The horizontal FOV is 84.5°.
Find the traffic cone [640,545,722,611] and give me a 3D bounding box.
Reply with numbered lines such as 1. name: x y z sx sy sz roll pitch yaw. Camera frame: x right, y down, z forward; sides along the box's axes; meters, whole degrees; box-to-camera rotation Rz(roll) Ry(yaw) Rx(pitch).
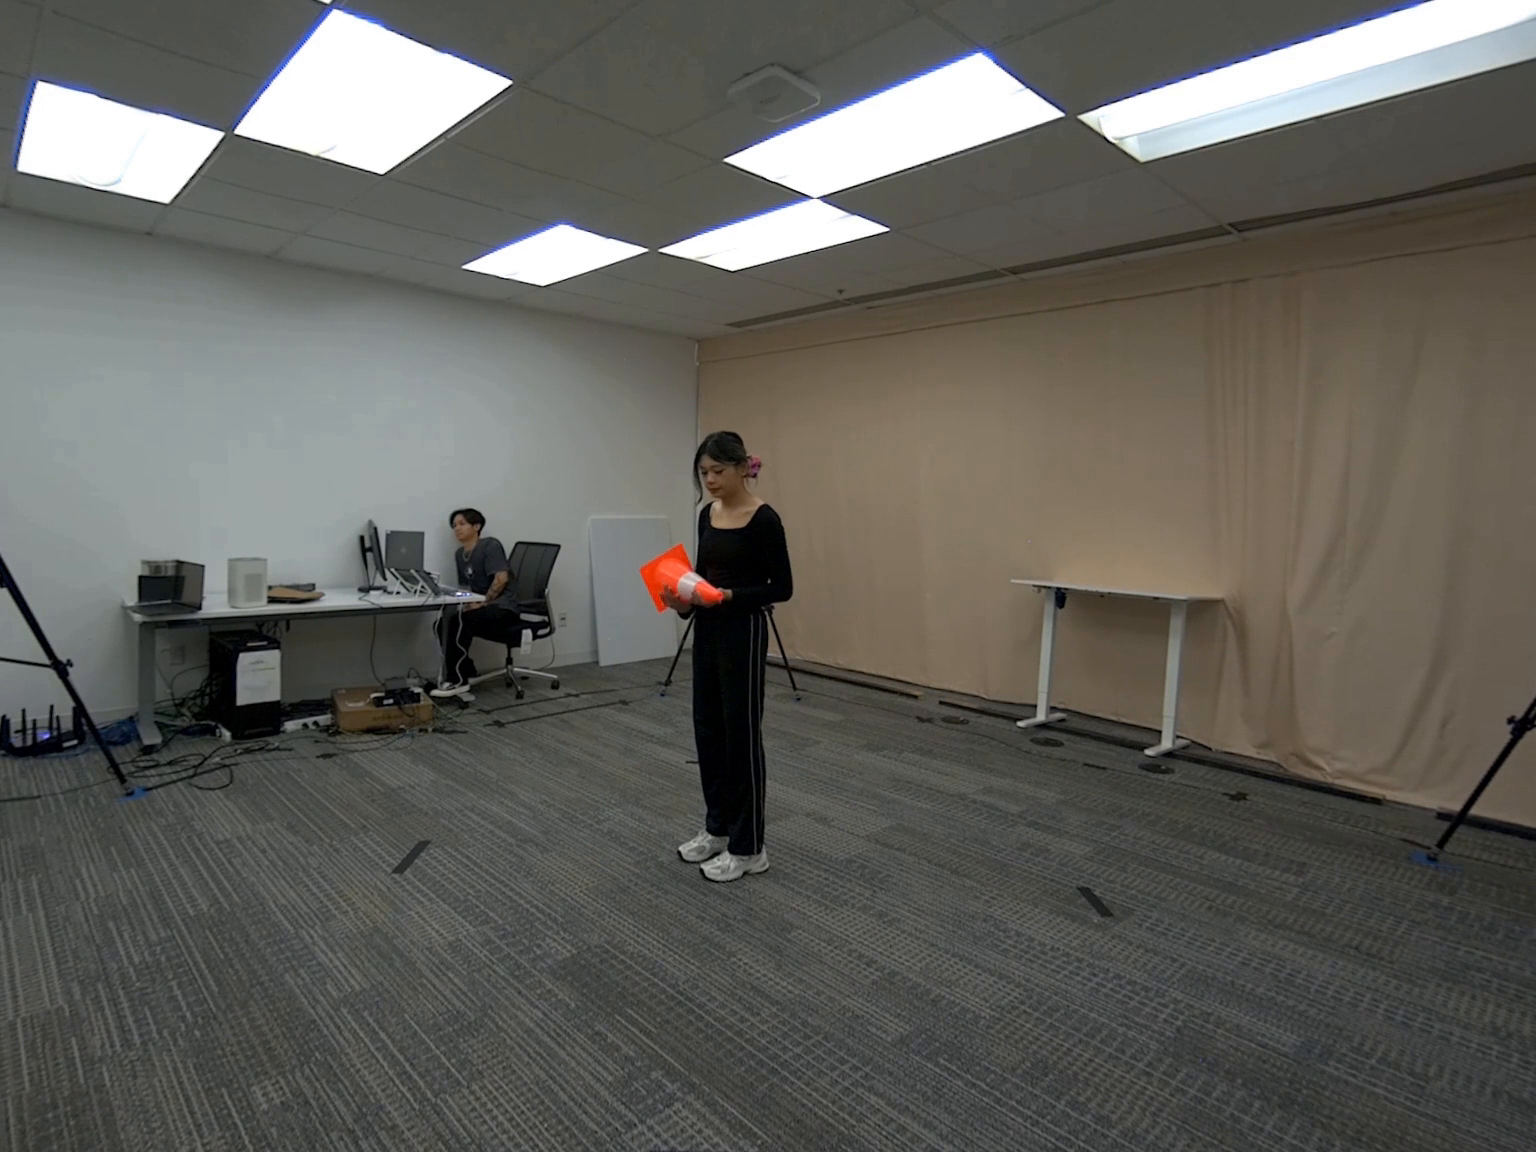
1. traffic cone: -0.286 0.046 2.989 0.204 0.199 0.393 -33 24 -18
